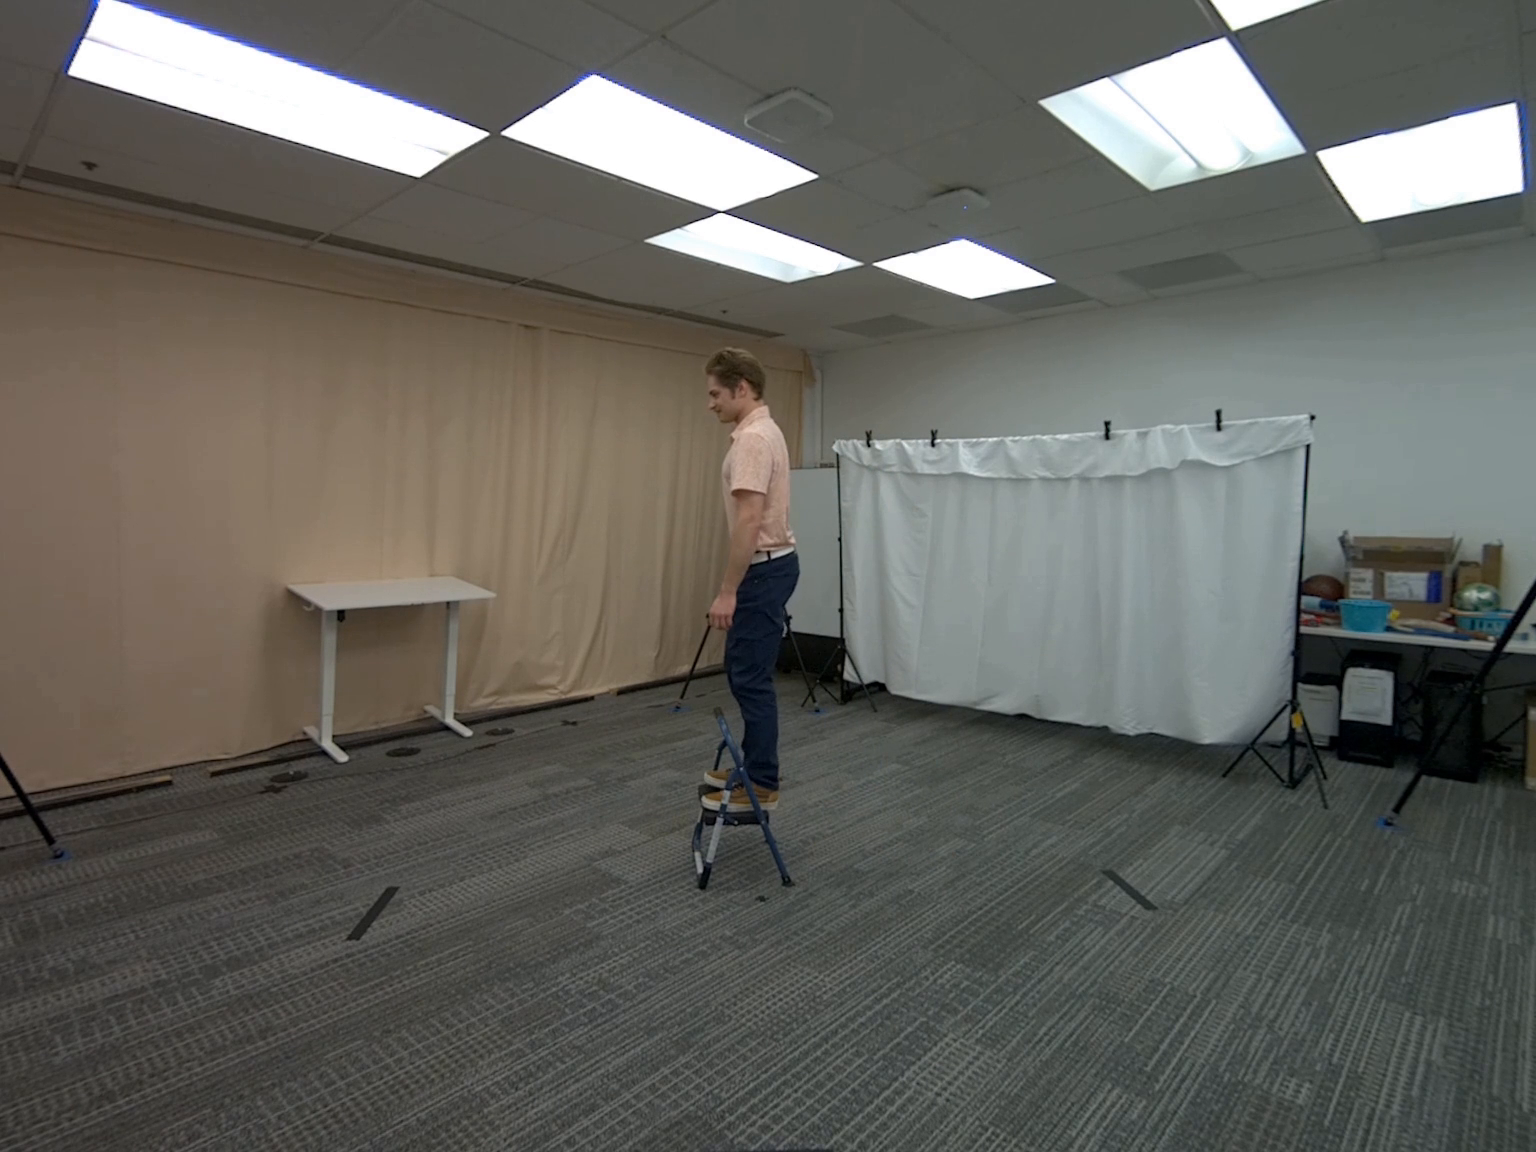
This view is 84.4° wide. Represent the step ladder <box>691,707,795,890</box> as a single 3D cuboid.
[{"bbox_3d":[-0.113,0.822,3.258,0.346,0.605,0.435,0,3,-8],"label":"step ladder"}]
